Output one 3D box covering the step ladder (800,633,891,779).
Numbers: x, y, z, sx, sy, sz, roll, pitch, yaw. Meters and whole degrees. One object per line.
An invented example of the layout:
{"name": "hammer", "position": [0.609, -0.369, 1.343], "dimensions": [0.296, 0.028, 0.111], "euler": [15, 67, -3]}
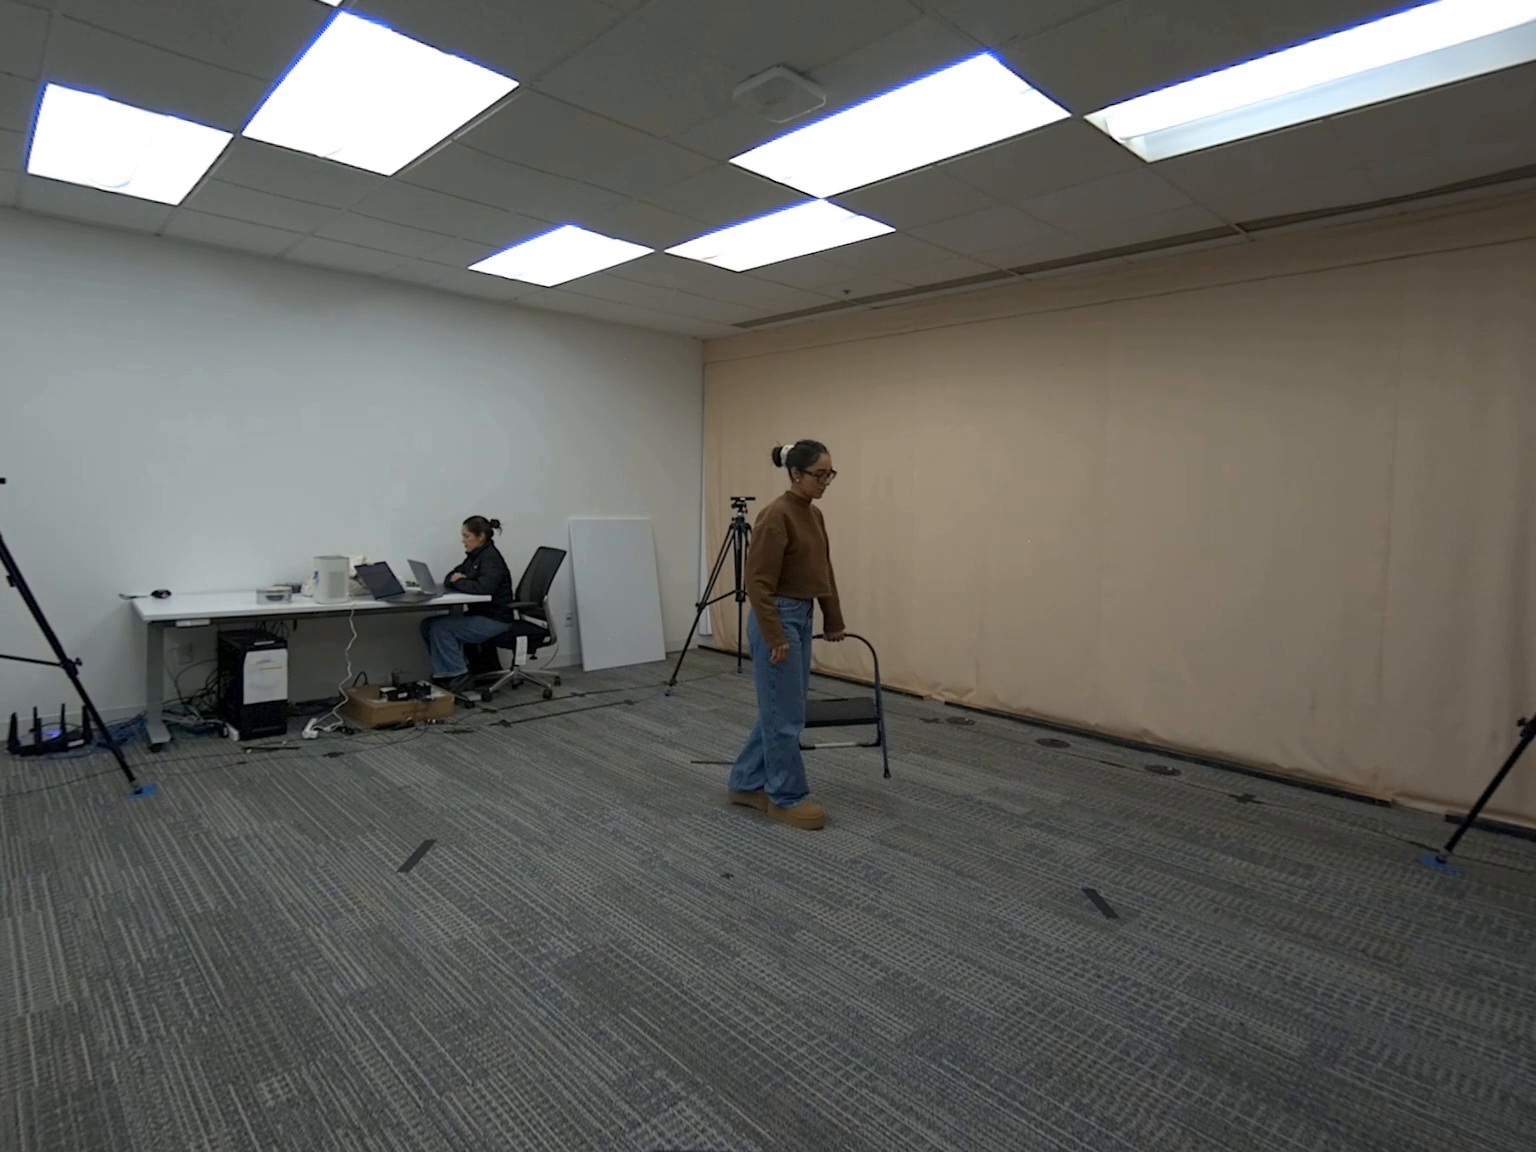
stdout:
{"name": "step ladder", "position": [0.316, 0.582, 3.881], "dimensions": [0.431, 0.600, 0.352], "euler": [-3, 12, 2]}
